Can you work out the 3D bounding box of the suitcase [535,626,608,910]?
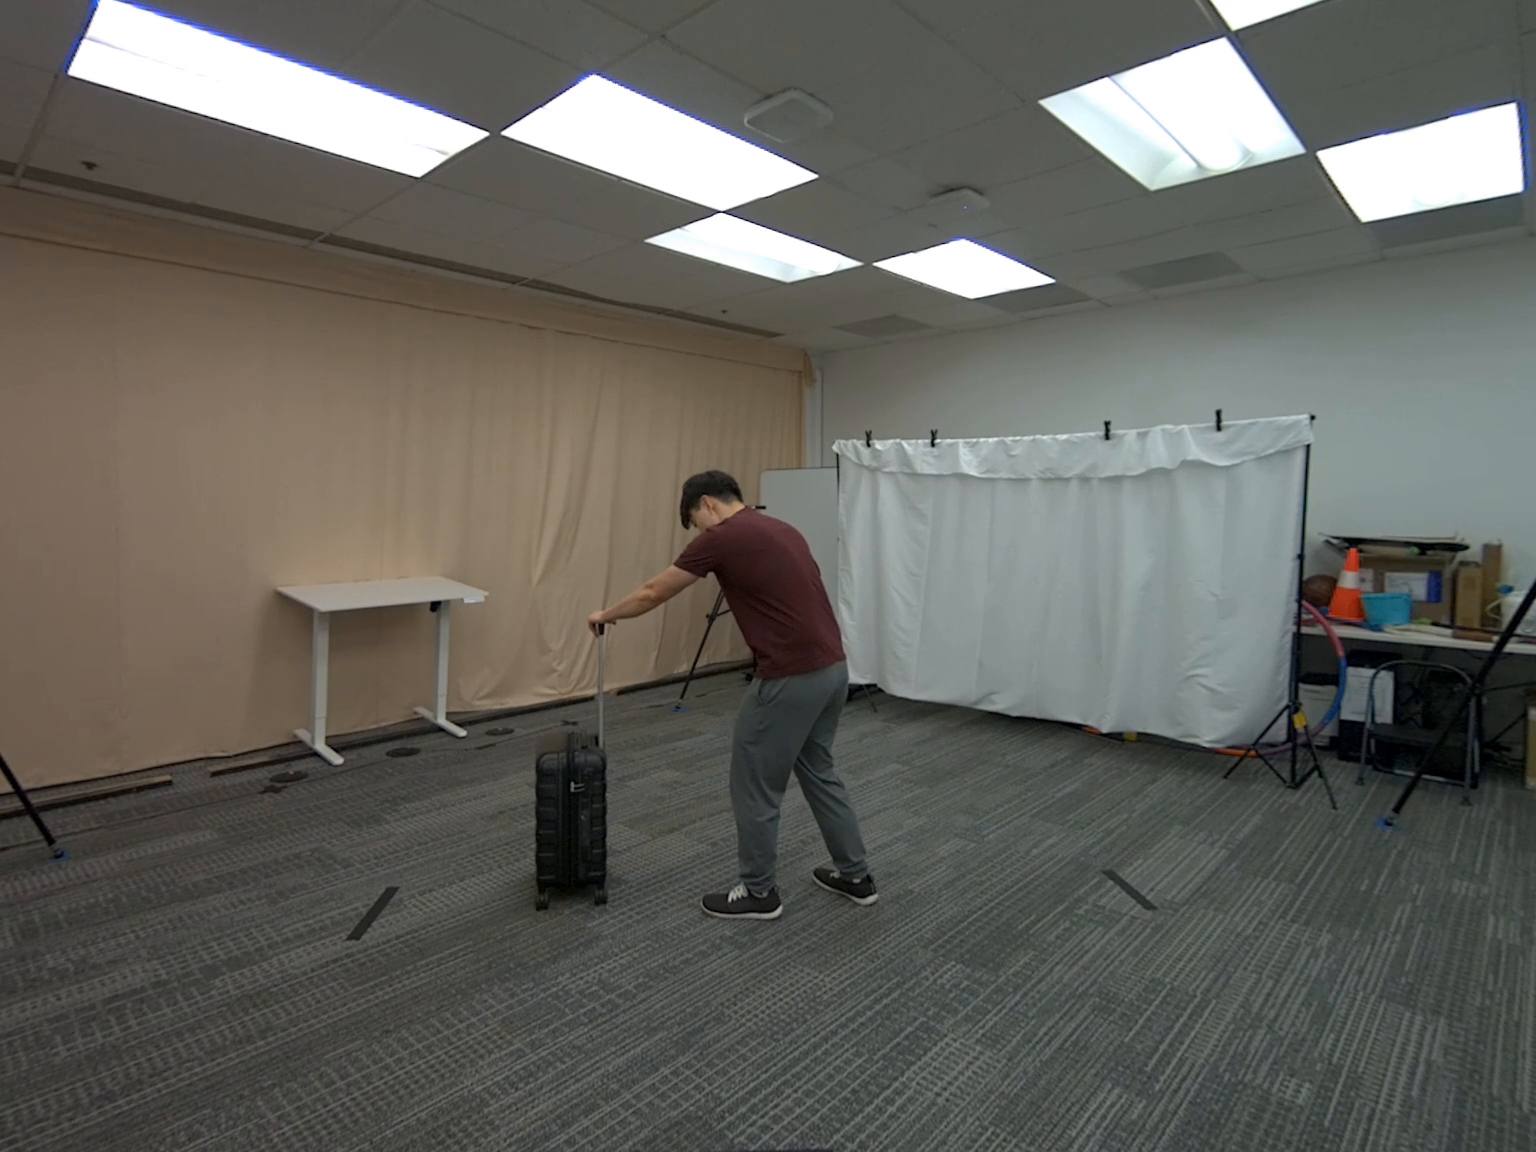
[{"bbox_3d":[-0.724,0.663,3.088,0.254,0.977,0.388,-2,2,-11],"label":"suitcase"}]
